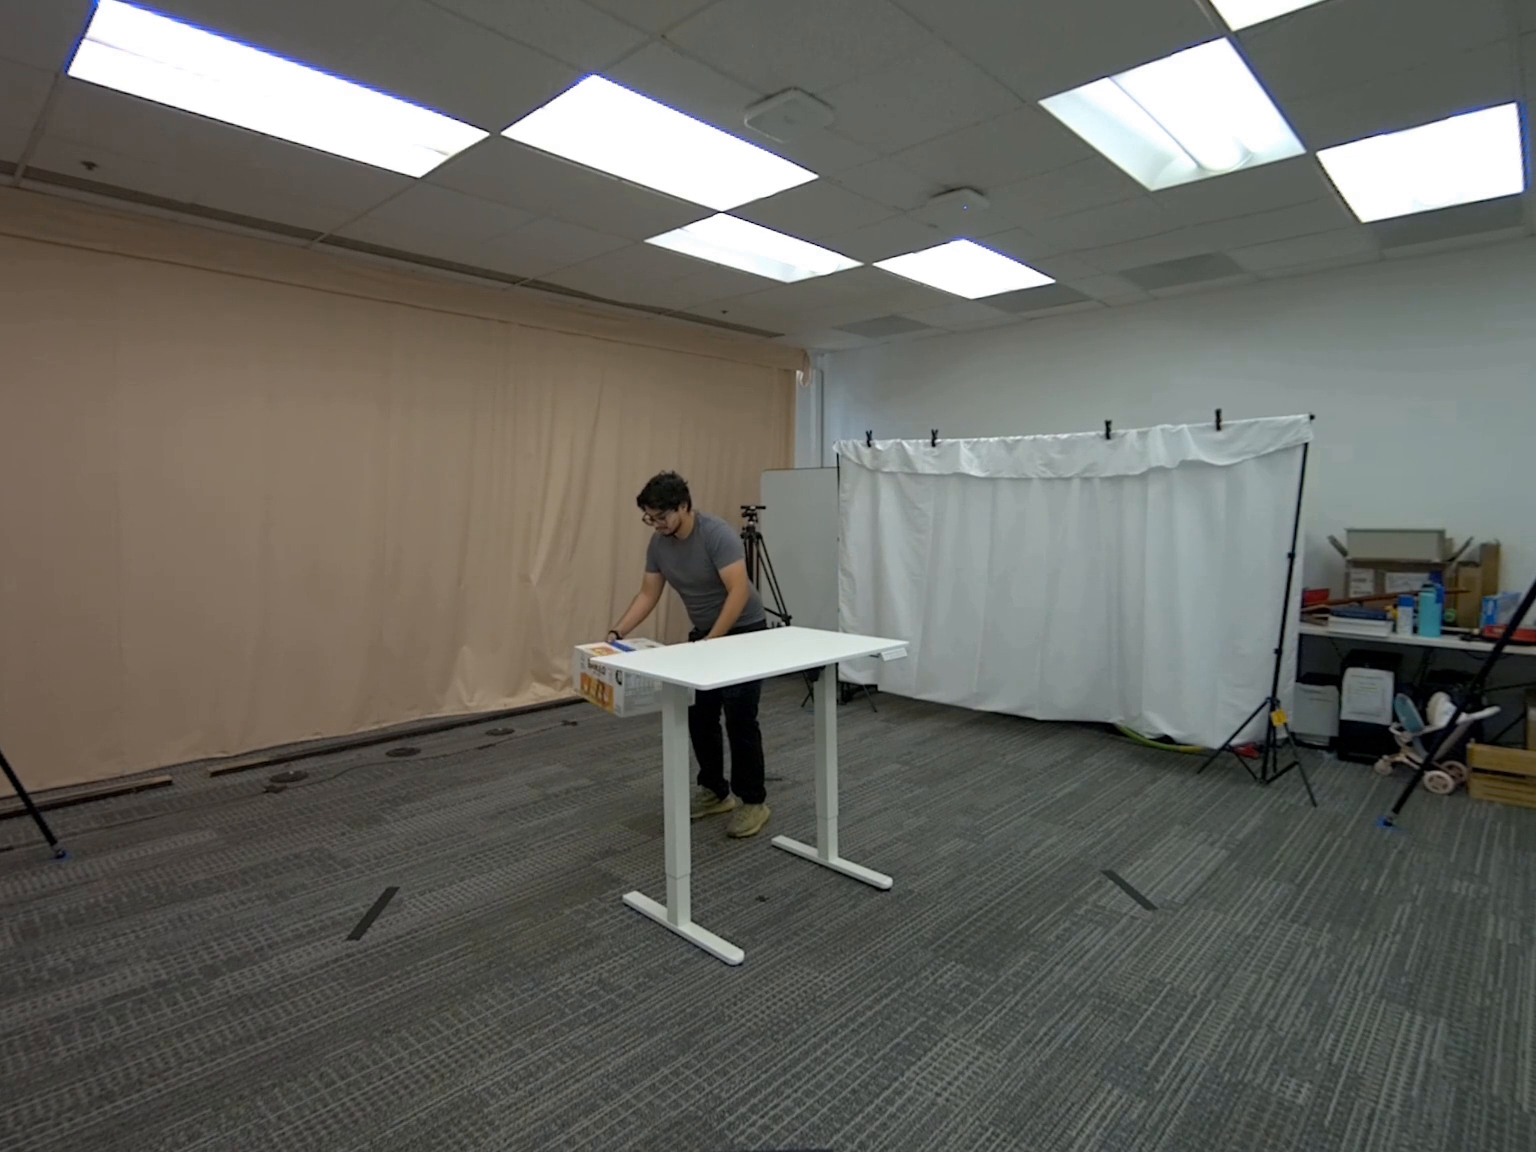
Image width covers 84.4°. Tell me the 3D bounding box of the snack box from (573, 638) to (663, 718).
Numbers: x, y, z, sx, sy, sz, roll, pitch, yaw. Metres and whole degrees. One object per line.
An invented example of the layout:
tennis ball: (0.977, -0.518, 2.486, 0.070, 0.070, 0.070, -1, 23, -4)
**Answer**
snack box: (-0.549, 0.406, 3.441, 0.330, 0.205, 0.419, -4, 9, -38)
